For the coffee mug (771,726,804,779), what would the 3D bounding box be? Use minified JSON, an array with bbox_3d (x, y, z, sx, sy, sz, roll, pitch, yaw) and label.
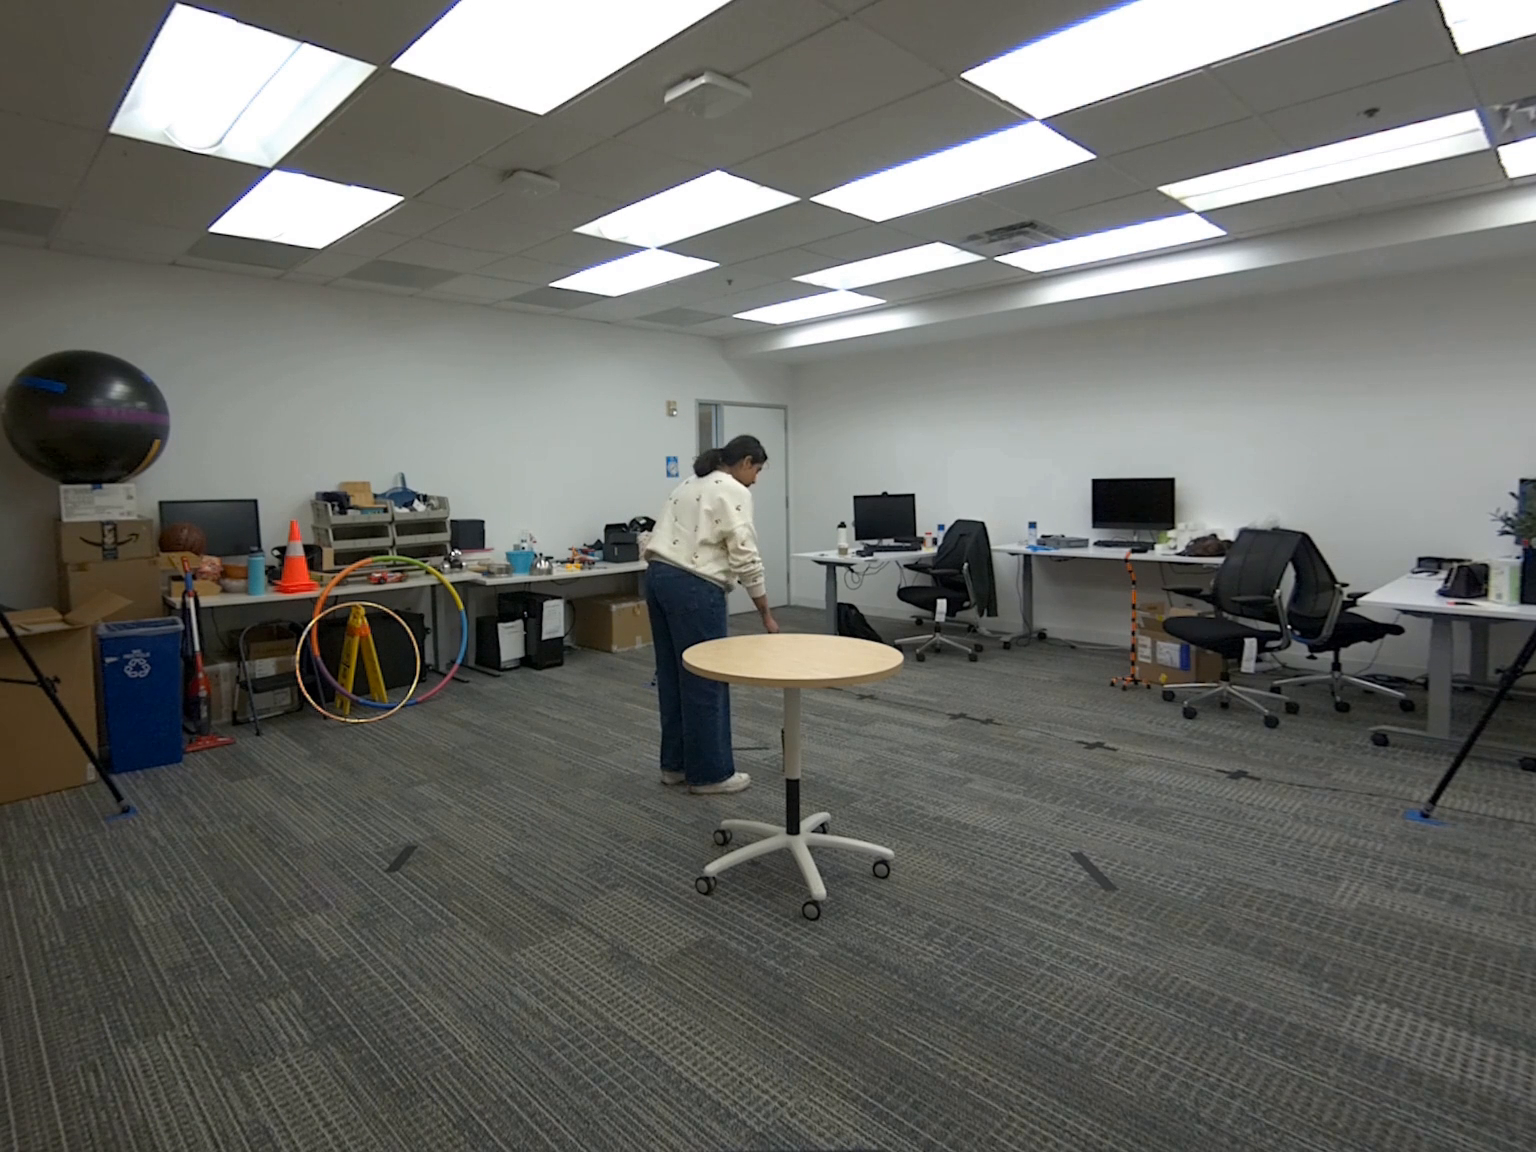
[{"bbox_3d":[0.091,0.832,4.055,0.090,0.202,0.118,5,5,41],"label":"coffee mug"}]
